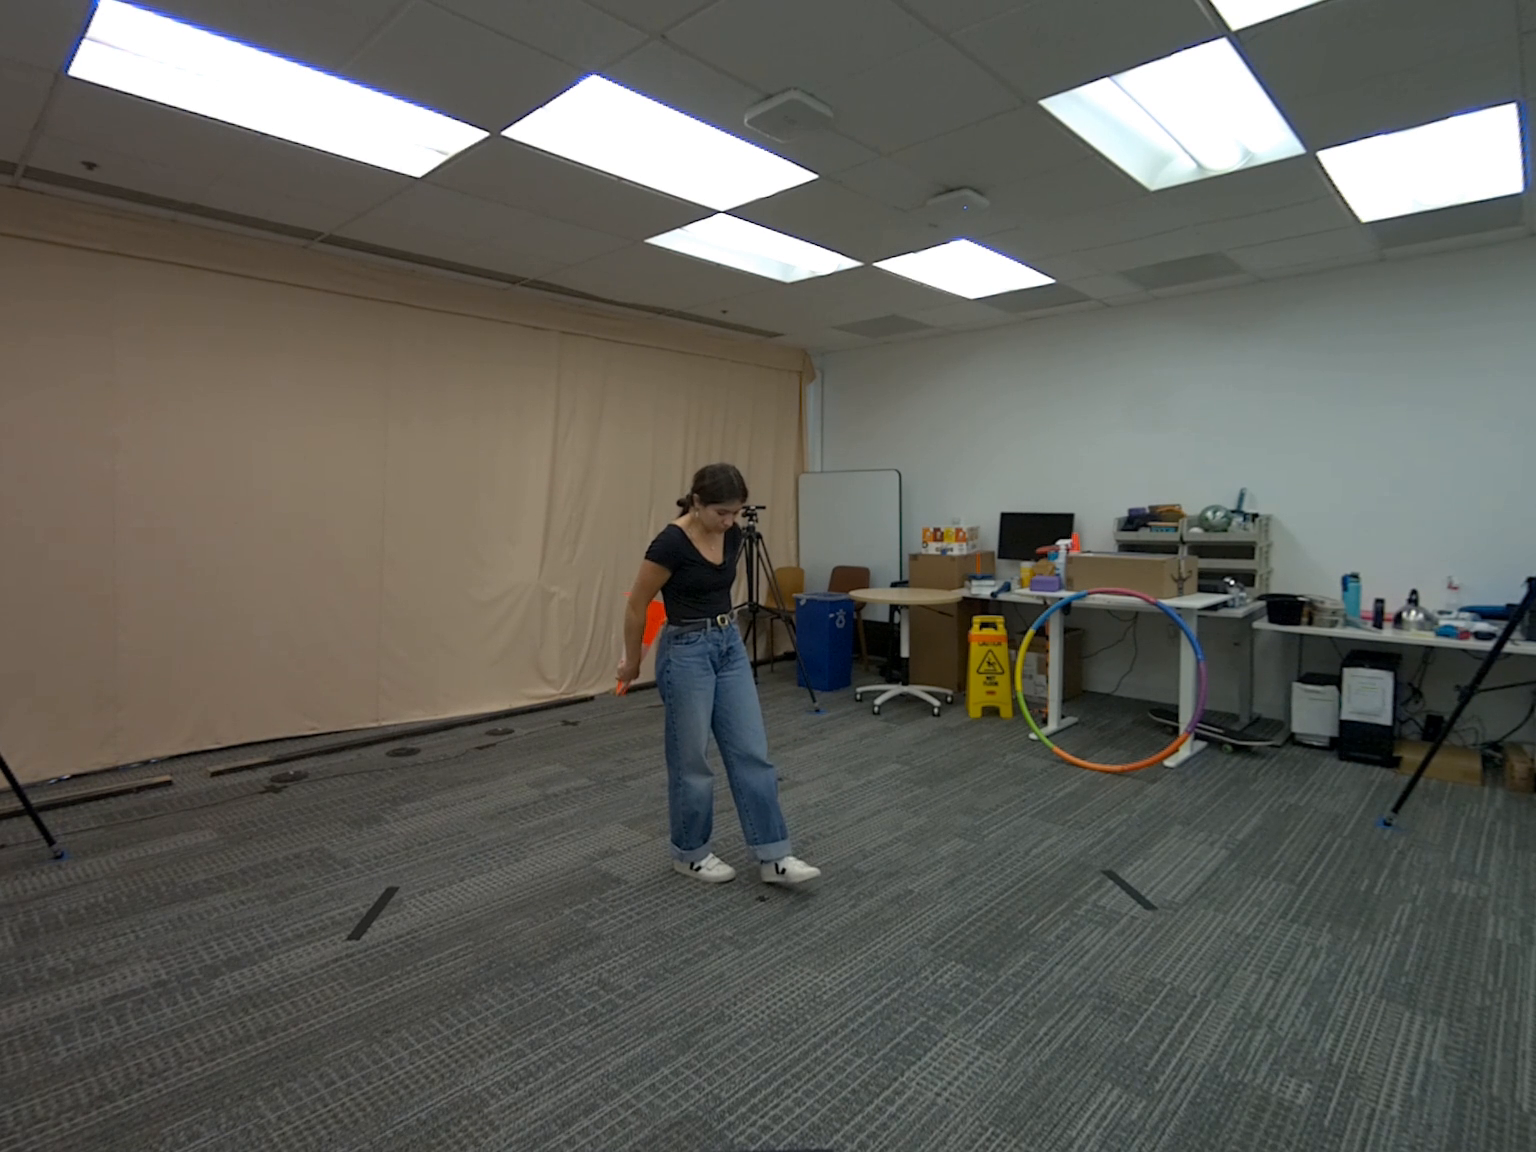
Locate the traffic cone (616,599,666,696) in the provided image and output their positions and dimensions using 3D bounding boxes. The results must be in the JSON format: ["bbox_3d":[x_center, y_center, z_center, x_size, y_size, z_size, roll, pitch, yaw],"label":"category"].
[{"bbox_3d":[-0.493,0.284,3.244,0.198,0.384,0.210,20,-8,-26],"label":"traffic cone"}]
